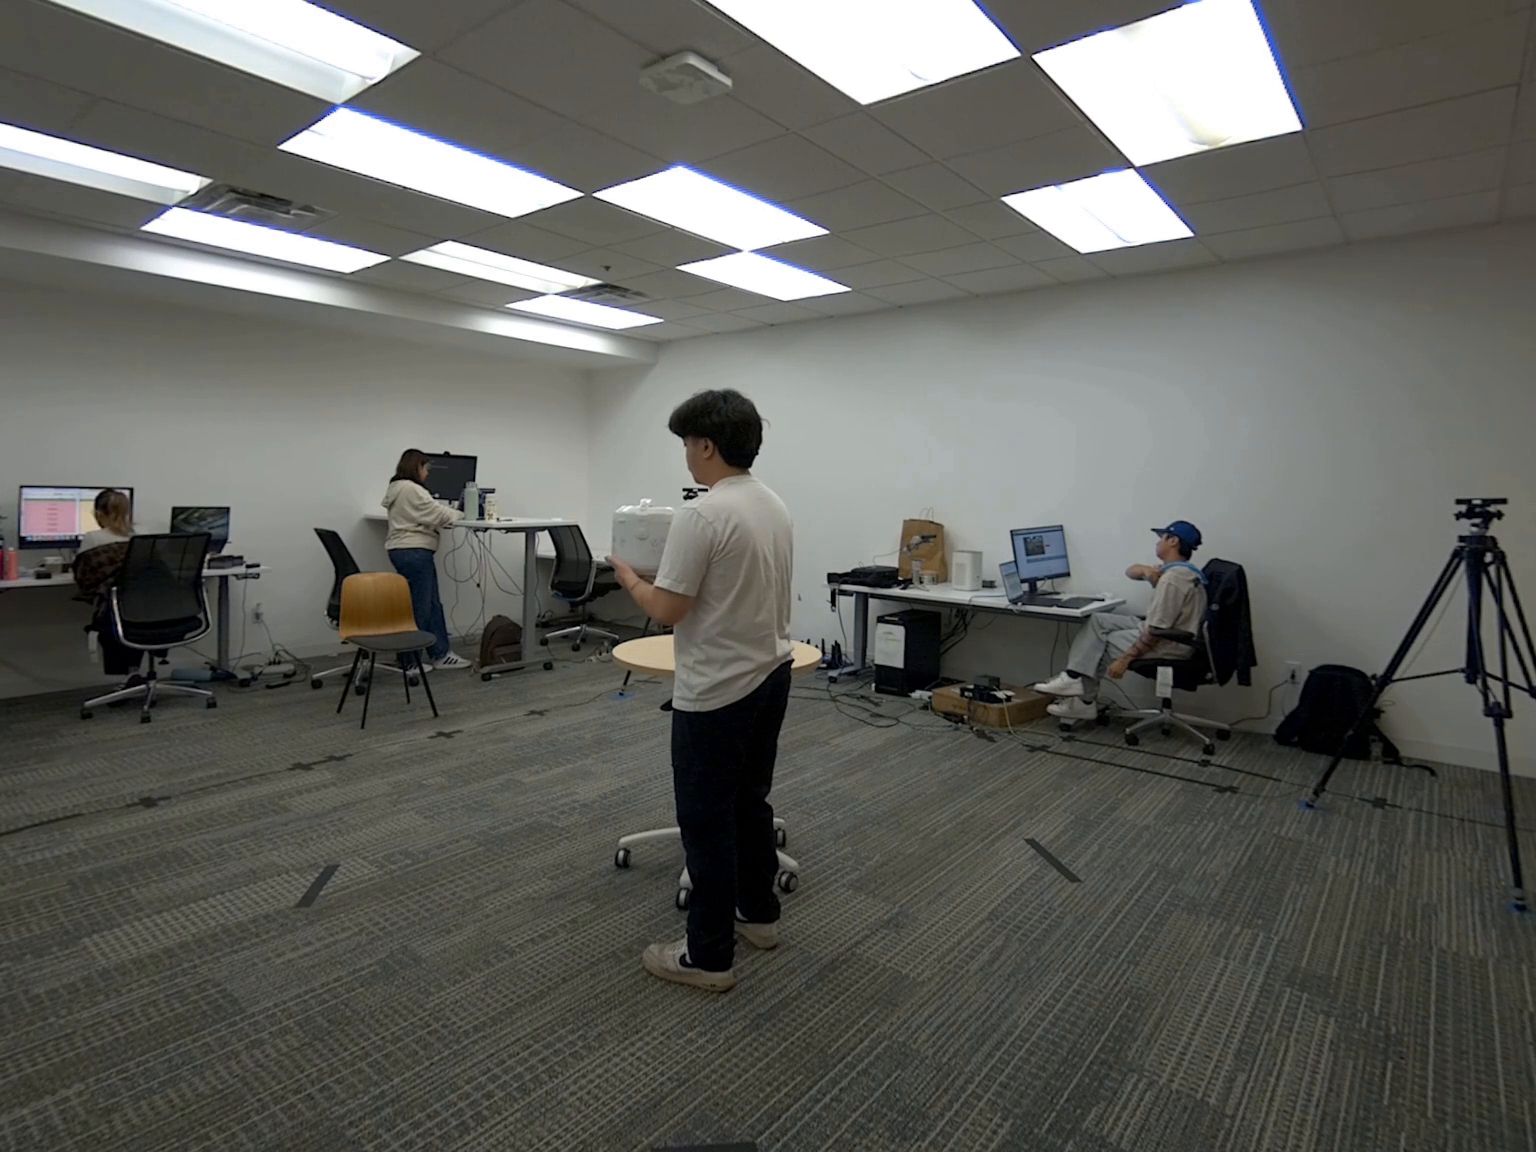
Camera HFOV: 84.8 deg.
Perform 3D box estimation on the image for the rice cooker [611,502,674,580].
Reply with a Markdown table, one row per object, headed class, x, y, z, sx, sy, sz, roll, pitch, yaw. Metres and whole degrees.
| class | x | y | z | sx | sy | sz | roll | pitch | yaw |
| --- | --- | --- | --- | --- | --- | --- | --- | --- | --- |
| rice cooker | -0.388 | -0.124 | 2.646 | 0.218 | 0.232 | 0.220 | 1 | 4 | 3 |
